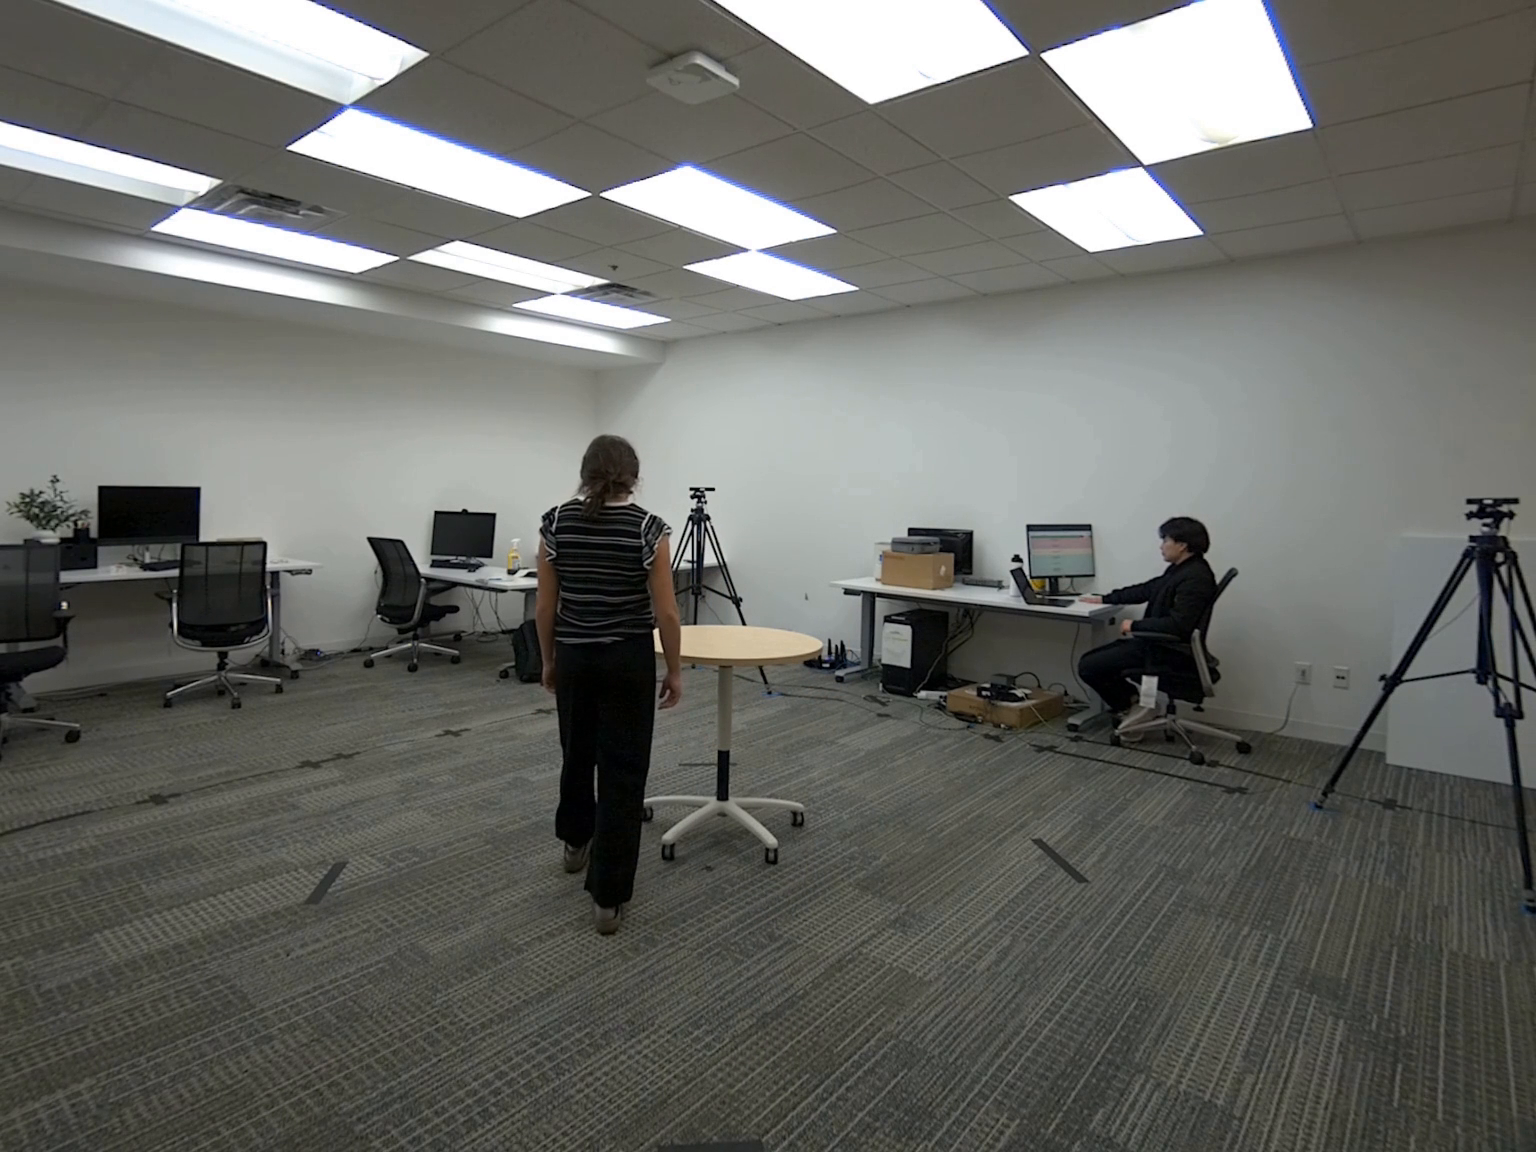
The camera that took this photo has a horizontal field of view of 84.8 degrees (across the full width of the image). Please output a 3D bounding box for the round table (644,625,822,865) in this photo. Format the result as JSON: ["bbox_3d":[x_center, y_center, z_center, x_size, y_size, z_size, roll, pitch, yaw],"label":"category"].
[{"bbox_3d":[-0.200,0.643,3.408,0.784,0.784,0.788,1,4,-2],"label":"round table"}]
